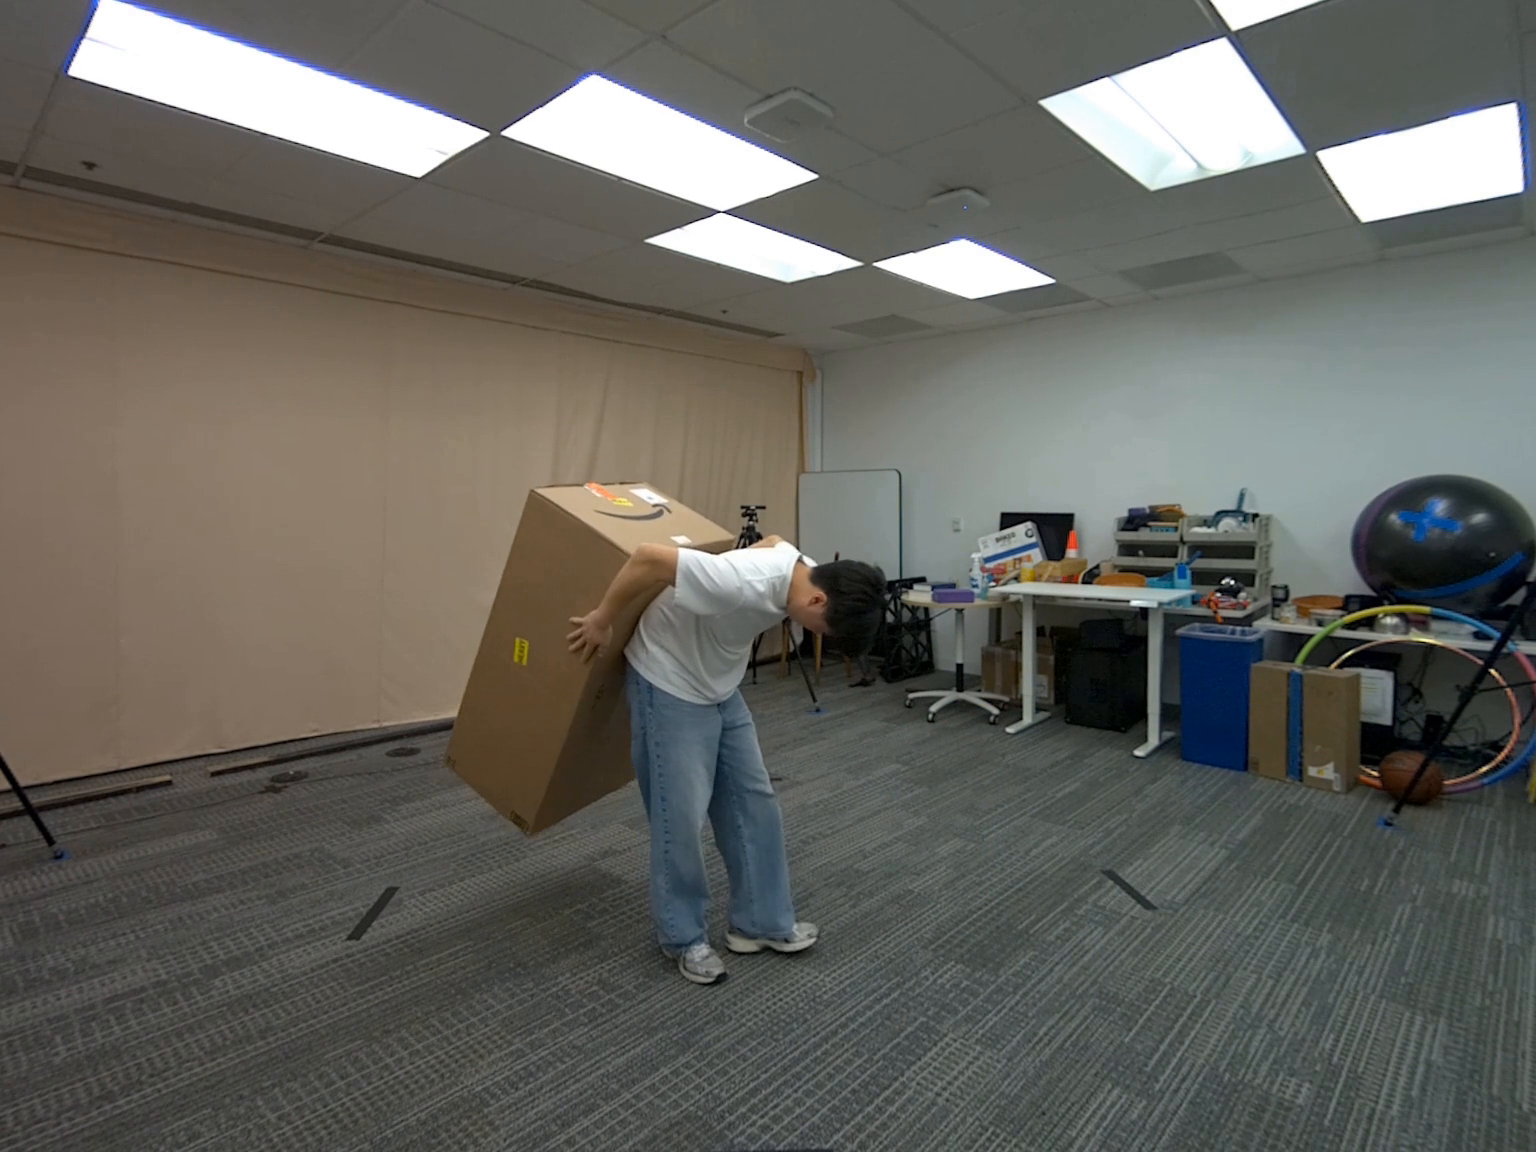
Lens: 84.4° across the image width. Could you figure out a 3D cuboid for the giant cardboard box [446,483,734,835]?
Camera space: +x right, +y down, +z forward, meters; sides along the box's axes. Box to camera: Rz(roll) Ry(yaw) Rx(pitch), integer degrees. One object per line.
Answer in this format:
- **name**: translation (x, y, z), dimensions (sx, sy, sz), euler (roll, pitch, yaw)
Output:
- **giant cardboard box**: translation (-0.591, 0.248, 2.805), dimensions (0.438, 1.023, 0.563), euler (31, 20, 22)
